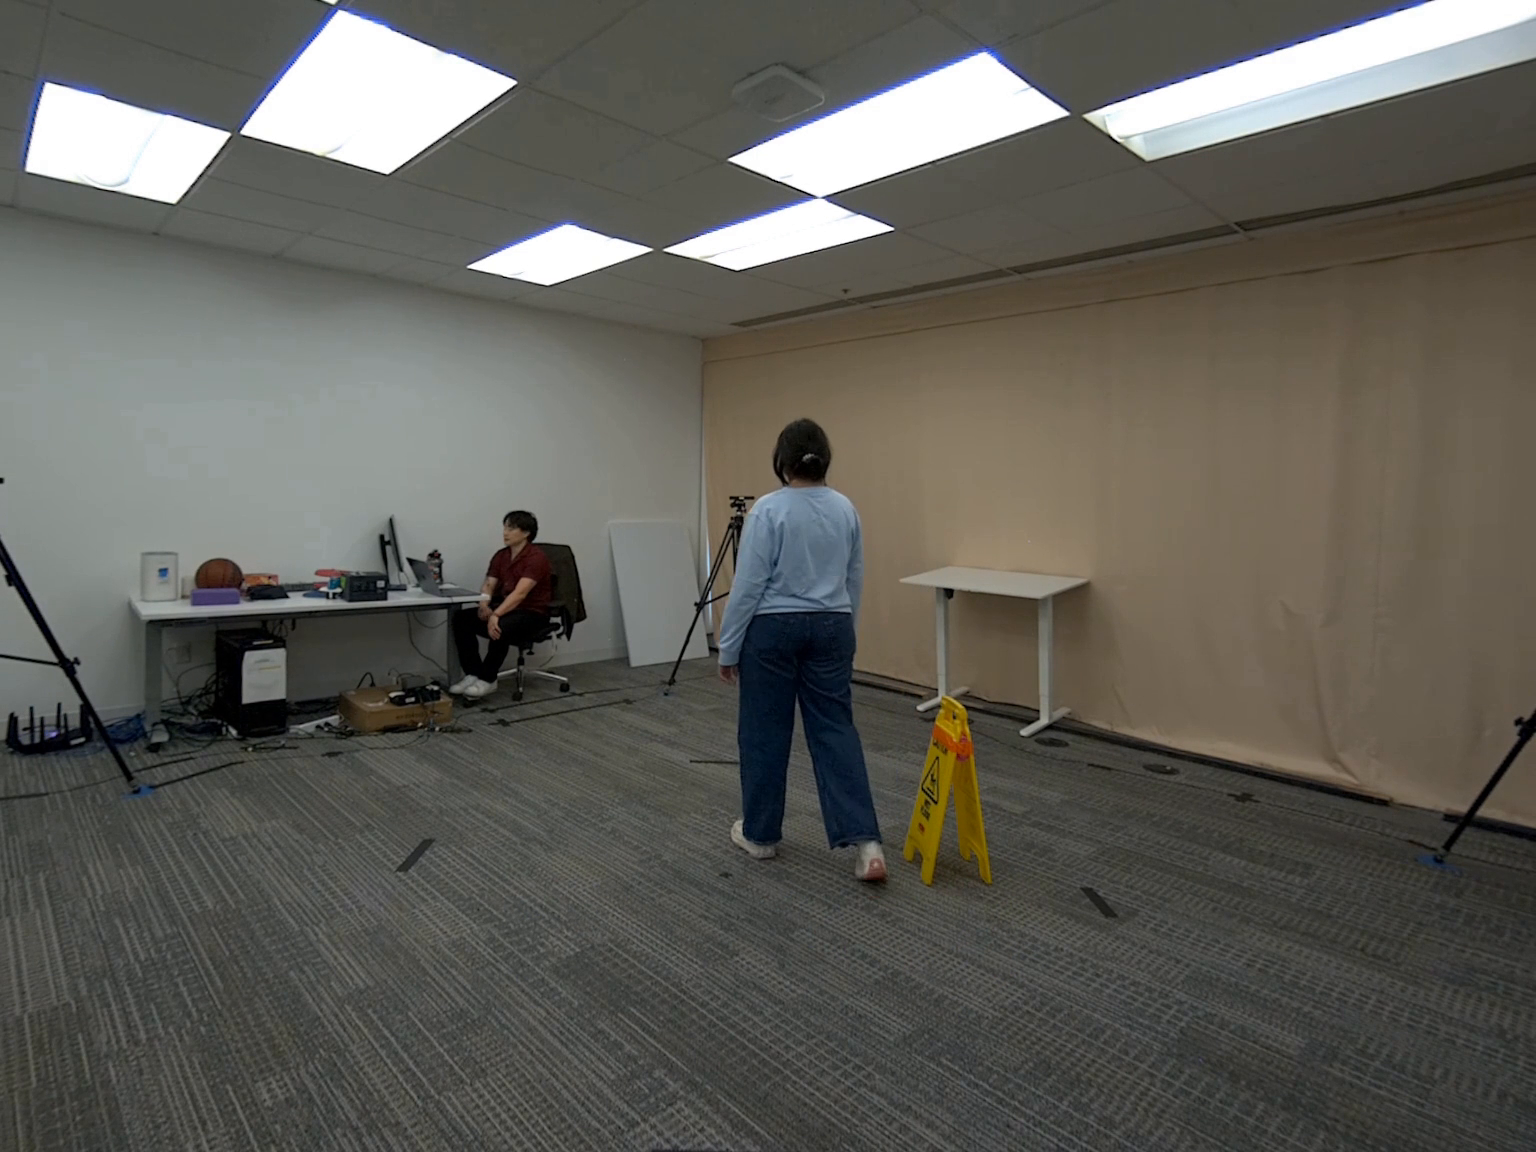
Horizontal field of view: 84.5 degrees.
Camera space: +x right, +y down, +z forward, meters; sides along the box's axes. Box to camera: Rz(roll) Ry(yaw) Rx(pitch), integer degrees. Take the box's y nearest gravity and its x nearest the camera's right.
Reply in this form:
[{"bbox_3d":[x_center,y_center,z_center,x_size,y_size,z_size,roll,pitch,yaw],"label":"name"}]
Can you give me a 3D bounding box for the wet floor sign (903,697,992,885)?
[{"bbox_3d":[0.678,0.790,3.189,0.288,0.645,0.284,1,1,-7],"label":"wet floor sign"}]
